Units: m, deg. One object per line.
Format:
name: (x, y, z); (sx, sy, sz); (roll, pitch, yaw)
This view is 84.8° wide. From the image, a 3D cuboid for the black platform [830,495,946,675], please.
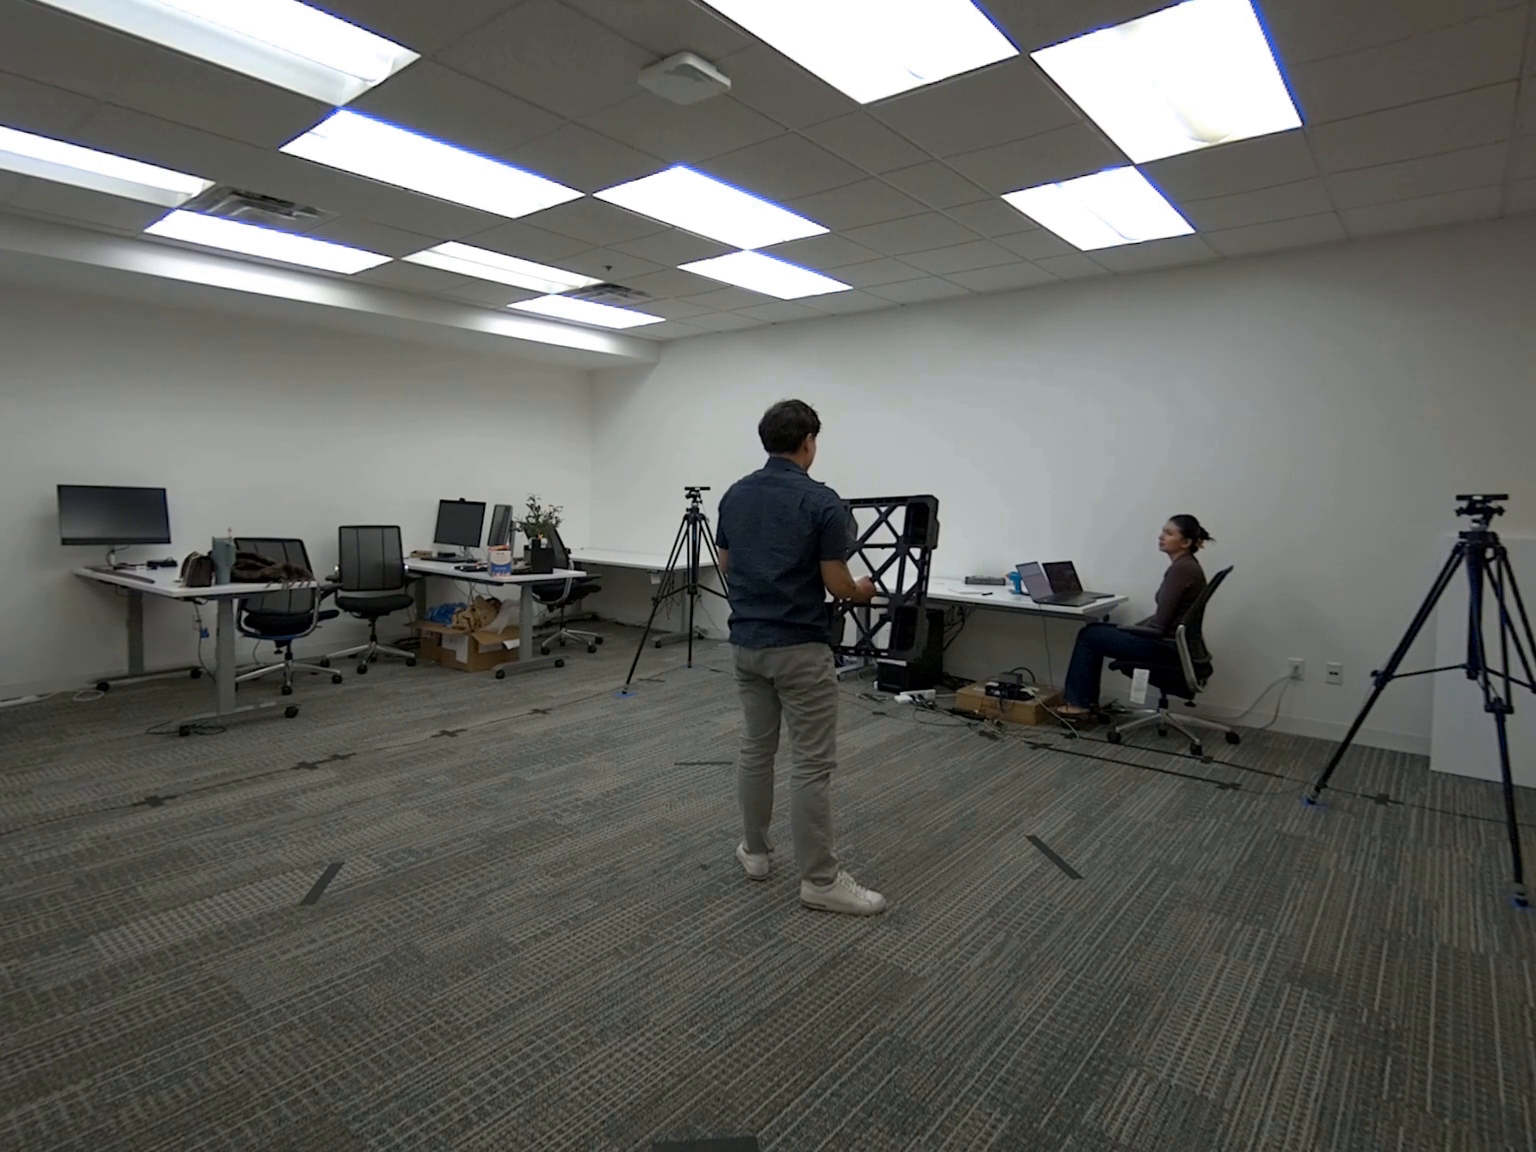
black platform: (0.257, 0.002, 3.246); (0.831, 0.611, 0.137); (0, -16, 38)
